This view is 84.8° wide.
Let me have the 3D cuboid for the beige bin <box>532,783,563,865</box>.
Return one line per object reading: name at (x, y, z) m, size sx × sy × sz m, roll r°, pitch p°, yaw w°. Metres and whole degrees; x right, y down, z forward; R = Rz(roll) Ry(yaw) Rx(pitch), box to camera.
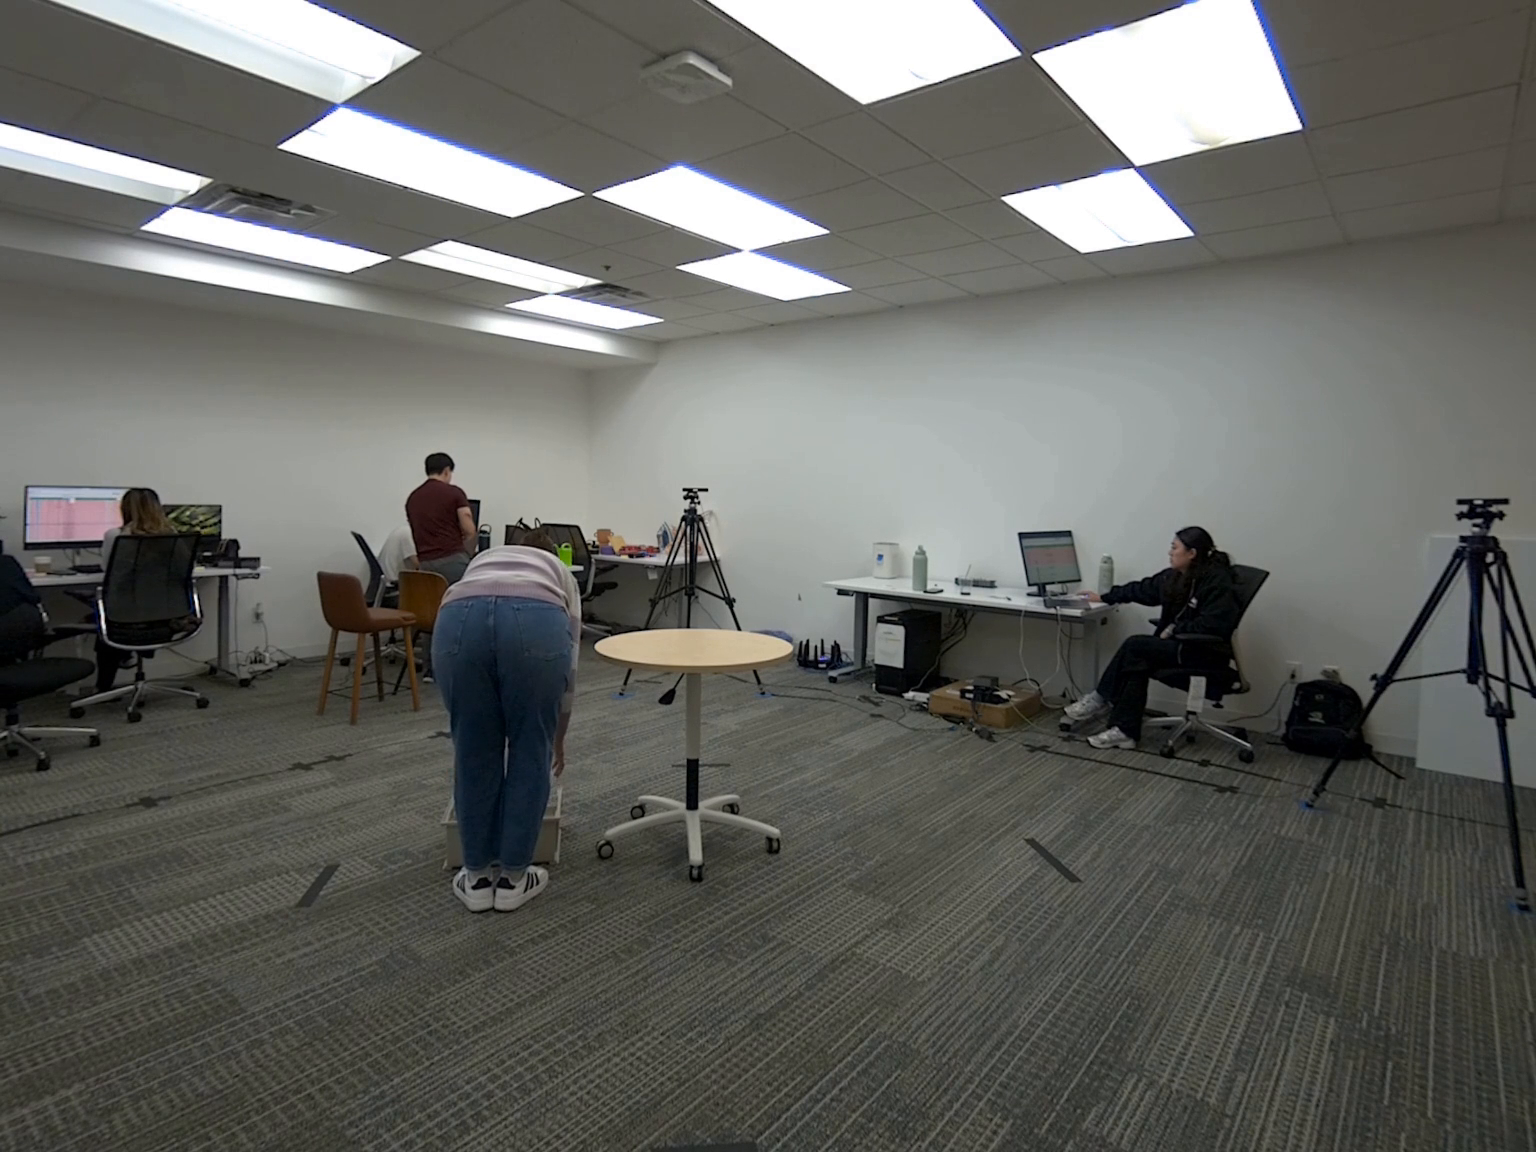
beige bin at (-1.016, 0.948, 3.259) m, size 0.418 × 0.188 × 0.383 m, roll 1°, pitch 5°, yaw -10°
